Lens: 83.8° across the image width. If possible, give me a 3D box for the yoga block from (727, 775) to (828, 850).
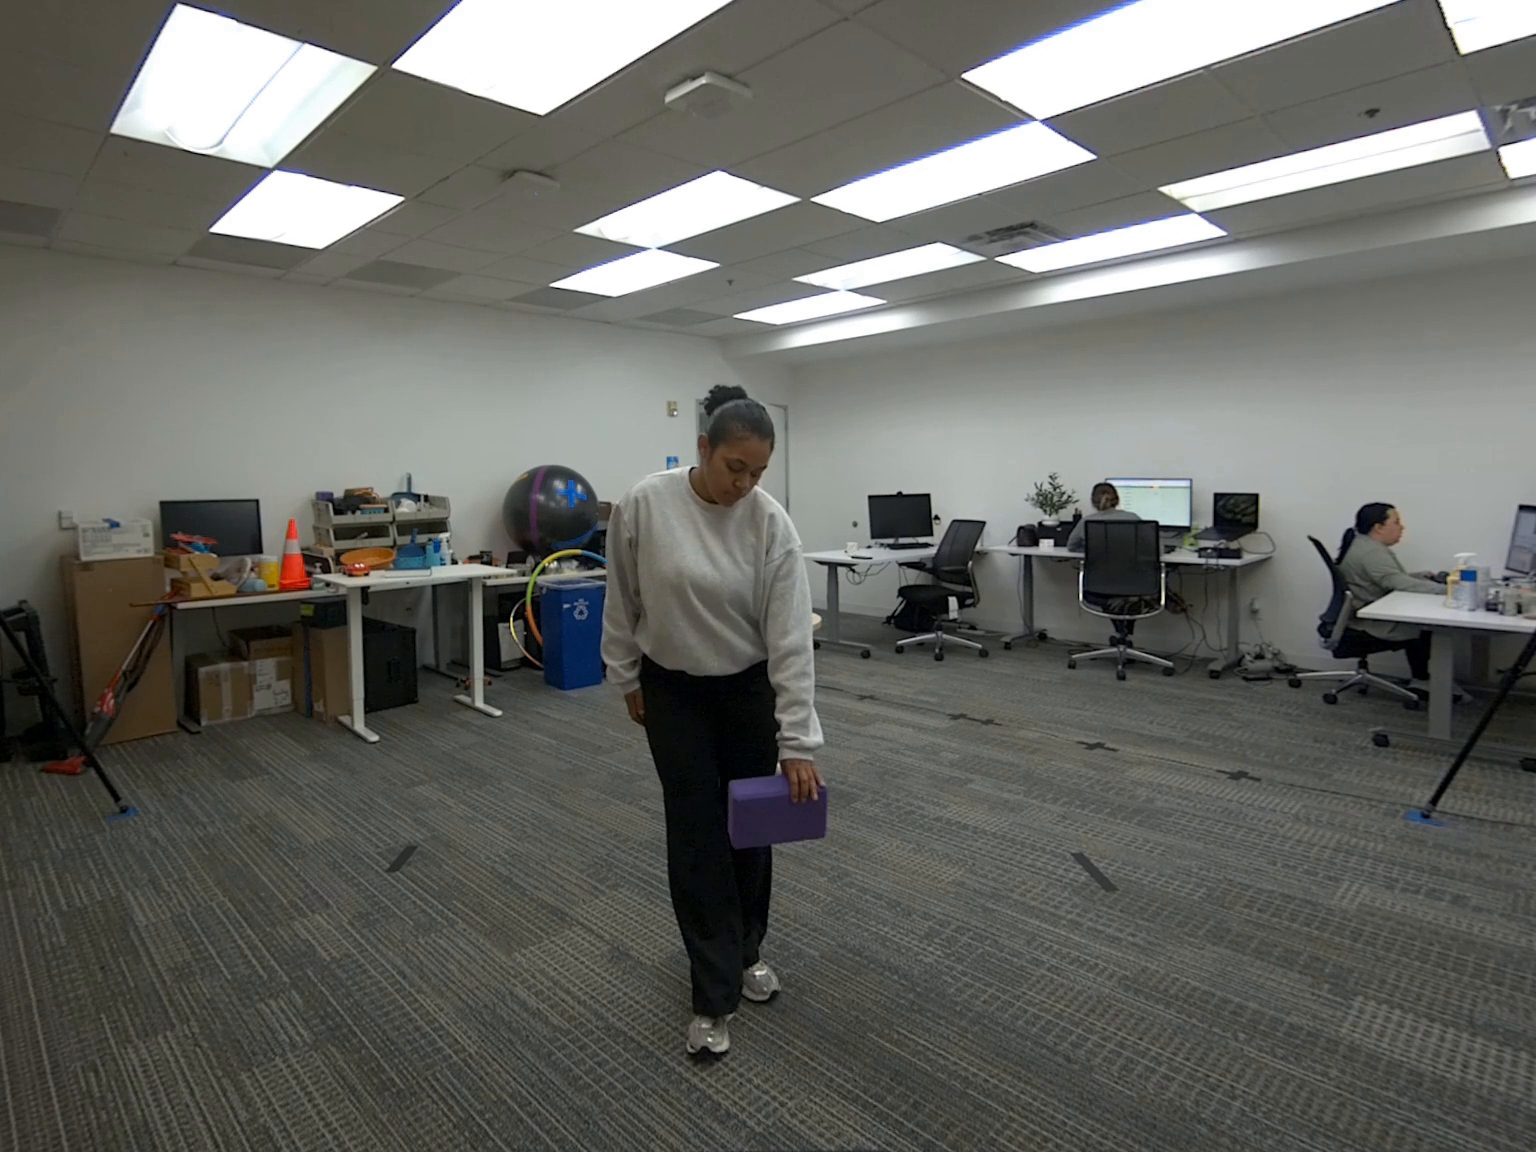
[{"bbox_3d":[0.026,0.552,2.029,0.227,0.147,0.078,-4,19,-13],"label":"yoga block"}]
